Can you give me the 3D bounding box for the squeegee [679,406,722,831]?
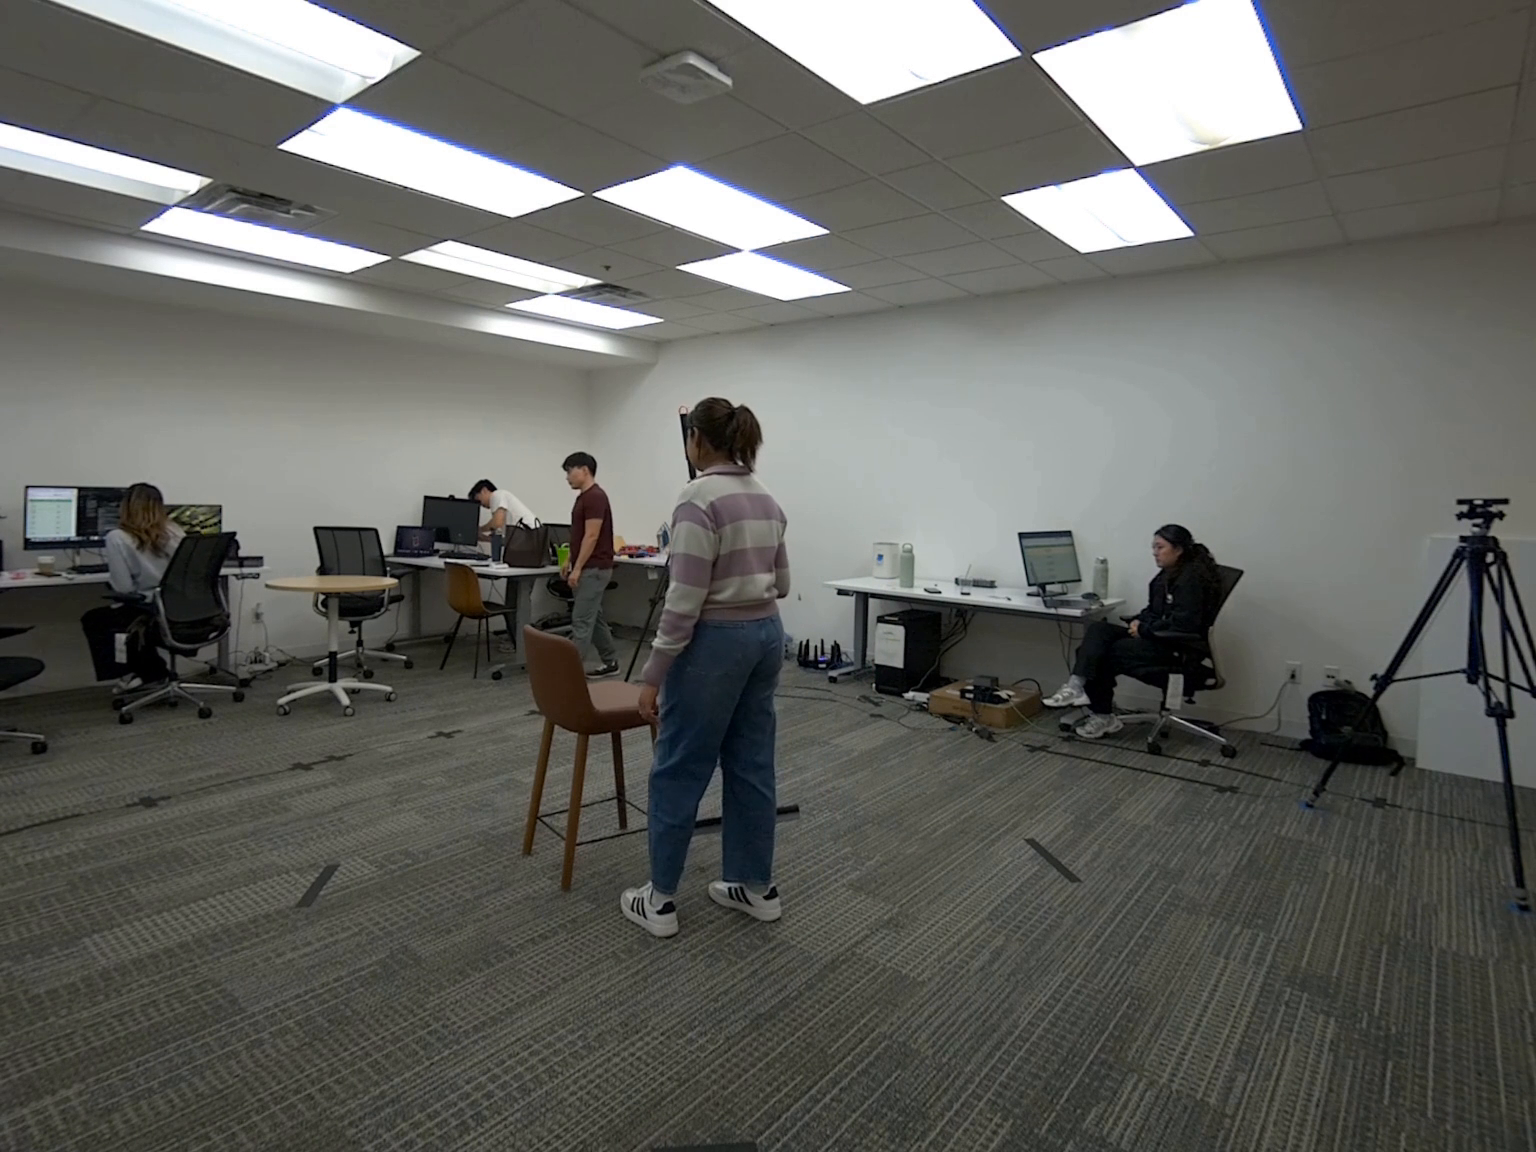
[{"bbox_3d":[-0.247,0.175,3.059,0.054,1.531,0.431,0,4,17],"label":"squeegee"}]
